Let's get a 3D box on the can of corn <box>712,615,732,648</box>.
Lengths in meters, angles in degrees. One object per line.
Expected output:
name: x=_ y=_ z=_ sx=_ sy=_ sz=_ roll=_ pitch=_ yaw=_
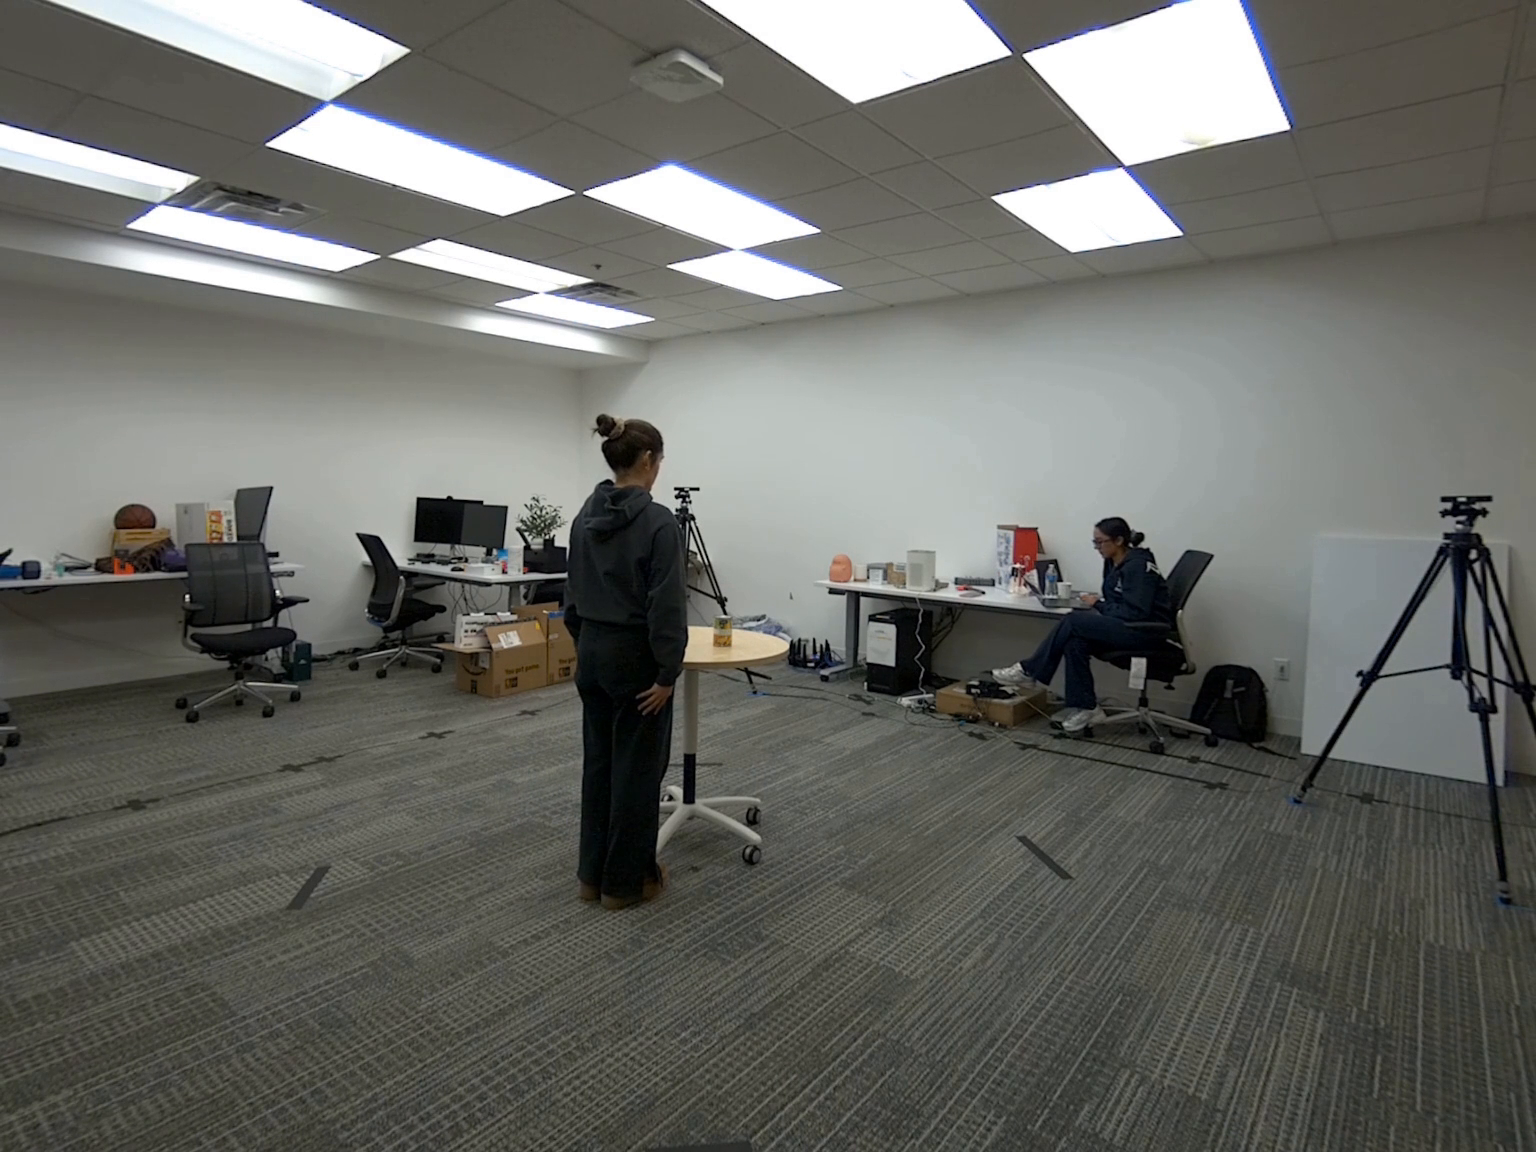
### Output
can of corn: x=-0.182 y=0.208 z=3.301 sx=0.074 sy=0.110 sz=0.074 roll=1 pitch=4 yaw=-2
